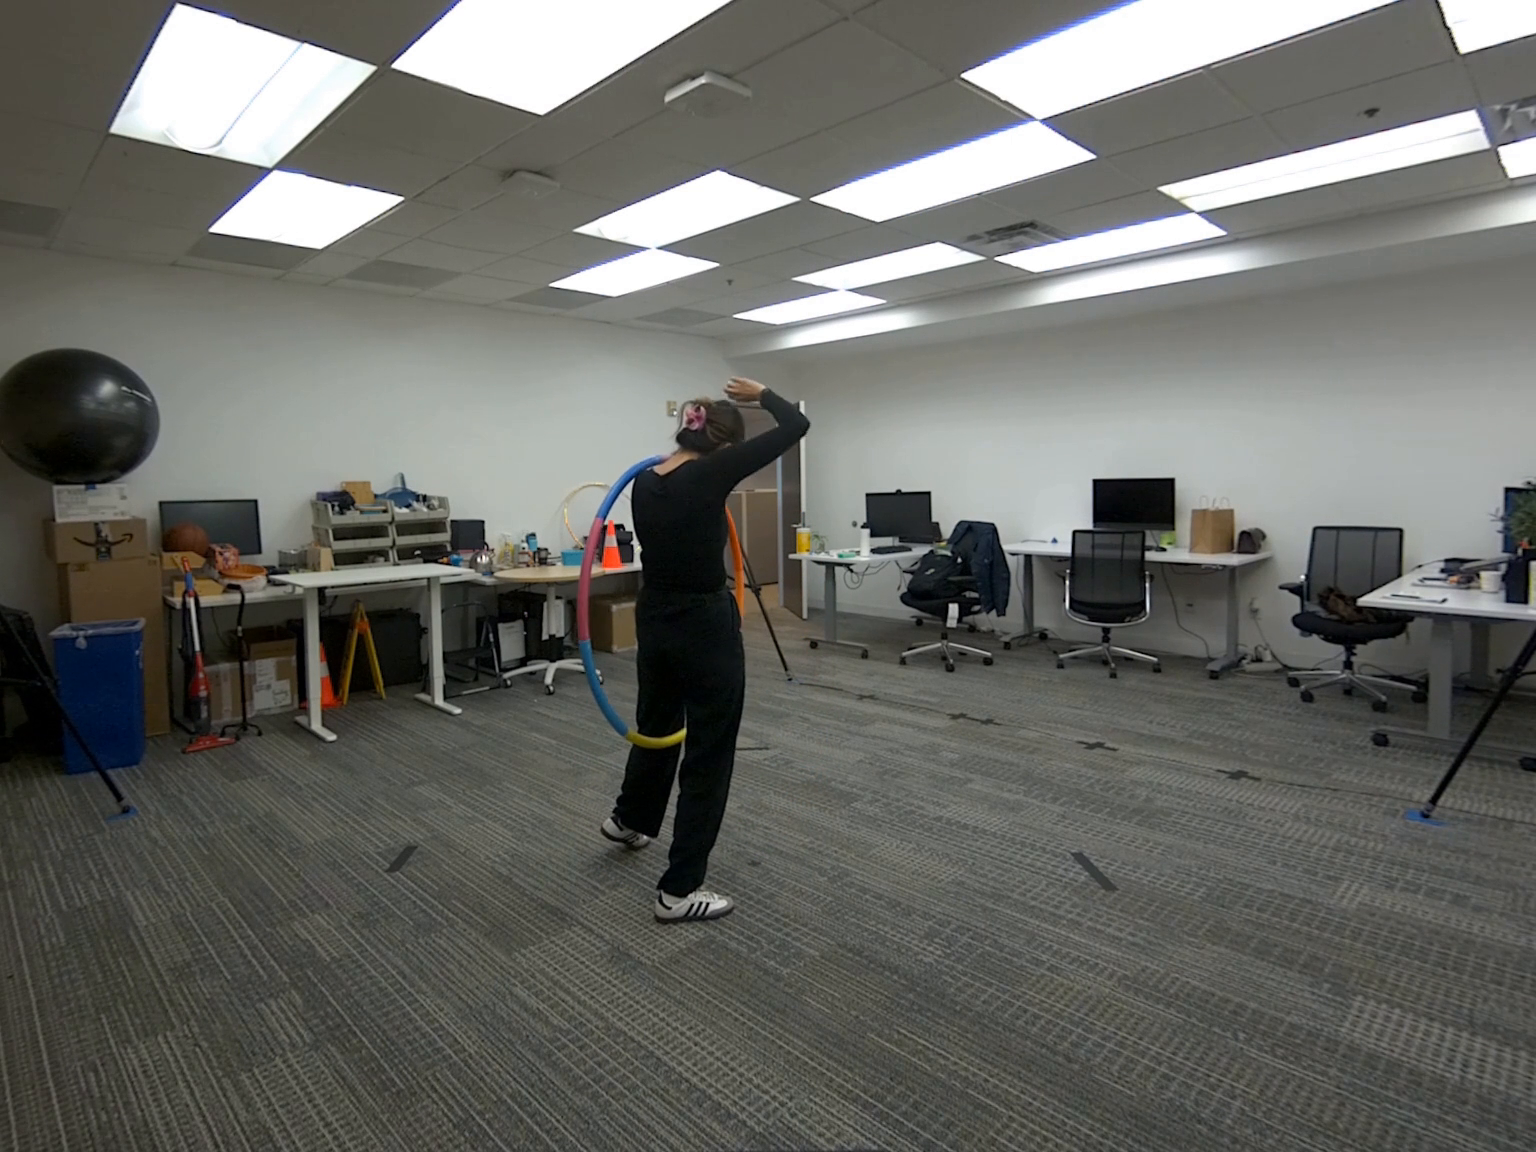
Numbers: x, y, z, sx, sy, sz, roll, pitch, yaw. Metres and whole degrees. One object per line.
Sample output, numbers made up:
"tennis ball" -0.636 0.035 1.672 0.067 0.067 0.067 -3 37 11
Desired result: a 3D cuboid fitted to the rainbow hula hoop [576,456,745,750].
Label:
"rainbow hula hoop" -0.326 0.077 2.929 0.036 0.976 0.958 -1 4 28
